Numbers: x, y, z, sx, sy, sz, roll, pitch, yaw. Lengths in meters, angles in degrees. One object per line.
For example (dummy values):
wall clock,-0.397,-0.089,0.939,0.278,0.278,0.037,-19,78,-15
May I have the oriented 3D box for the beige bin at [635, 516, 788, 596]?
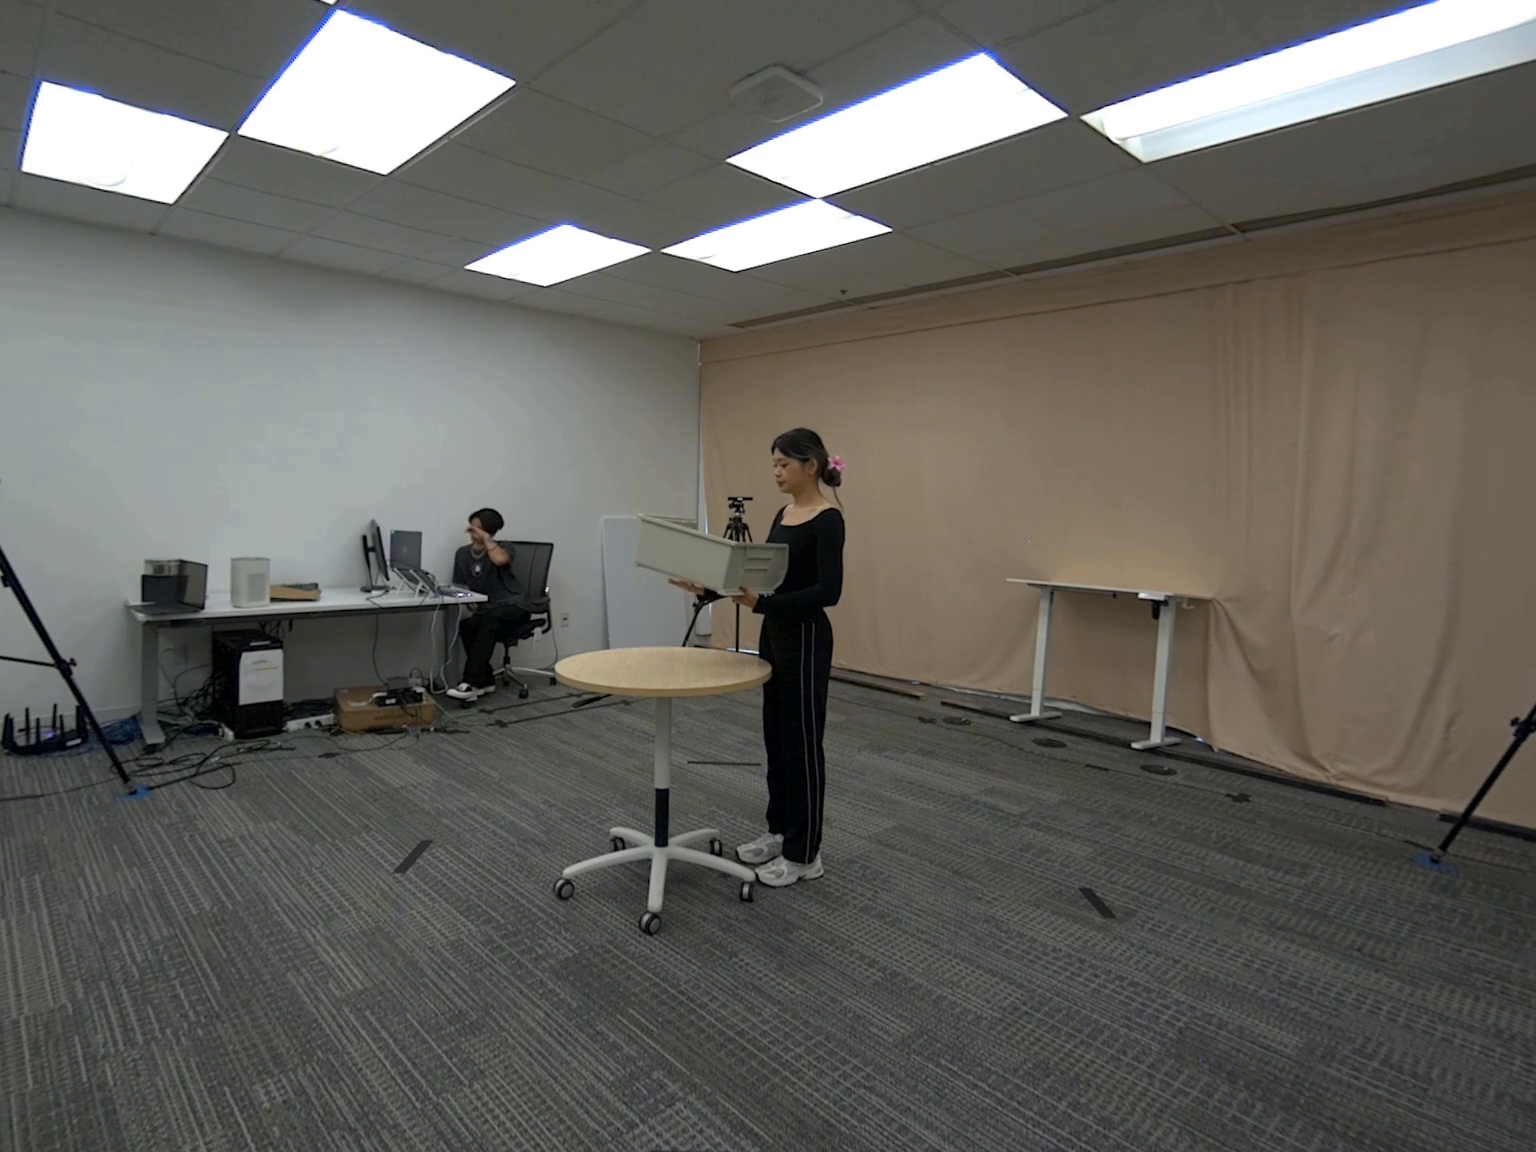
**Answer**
beige bin,-0.208,-0.069,2.946,0.433,0.188,0.369,17,10,30
